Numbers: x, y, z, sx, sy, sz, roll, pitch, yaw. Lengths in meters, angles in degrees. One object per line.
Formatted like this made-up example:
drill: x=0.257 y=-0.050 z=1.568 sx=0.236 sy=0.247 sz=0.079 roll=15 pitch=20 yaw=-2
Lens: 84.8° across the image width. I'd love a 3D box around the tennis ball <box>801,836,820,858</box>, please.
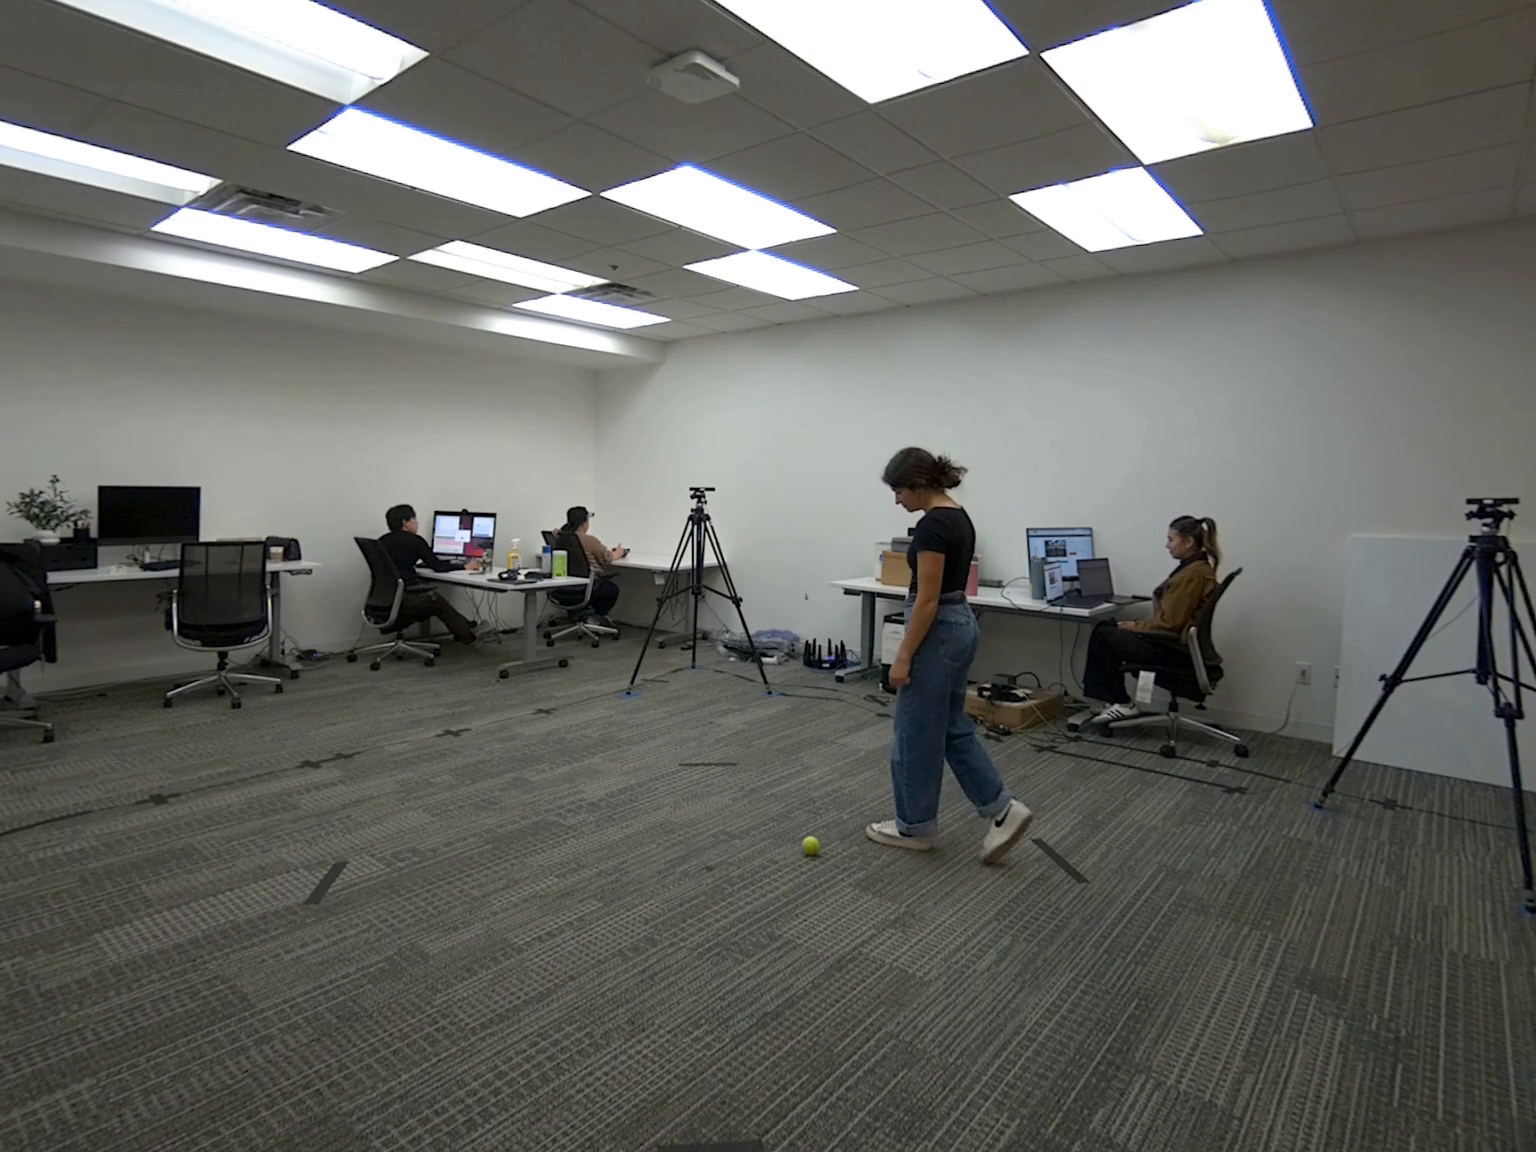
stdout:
tennis ball: x=0.162 y=1.012 z=3.259 sx=0.066 sy=0.066 sz=0.067 roll=1 pitch=4 yaw=-2
